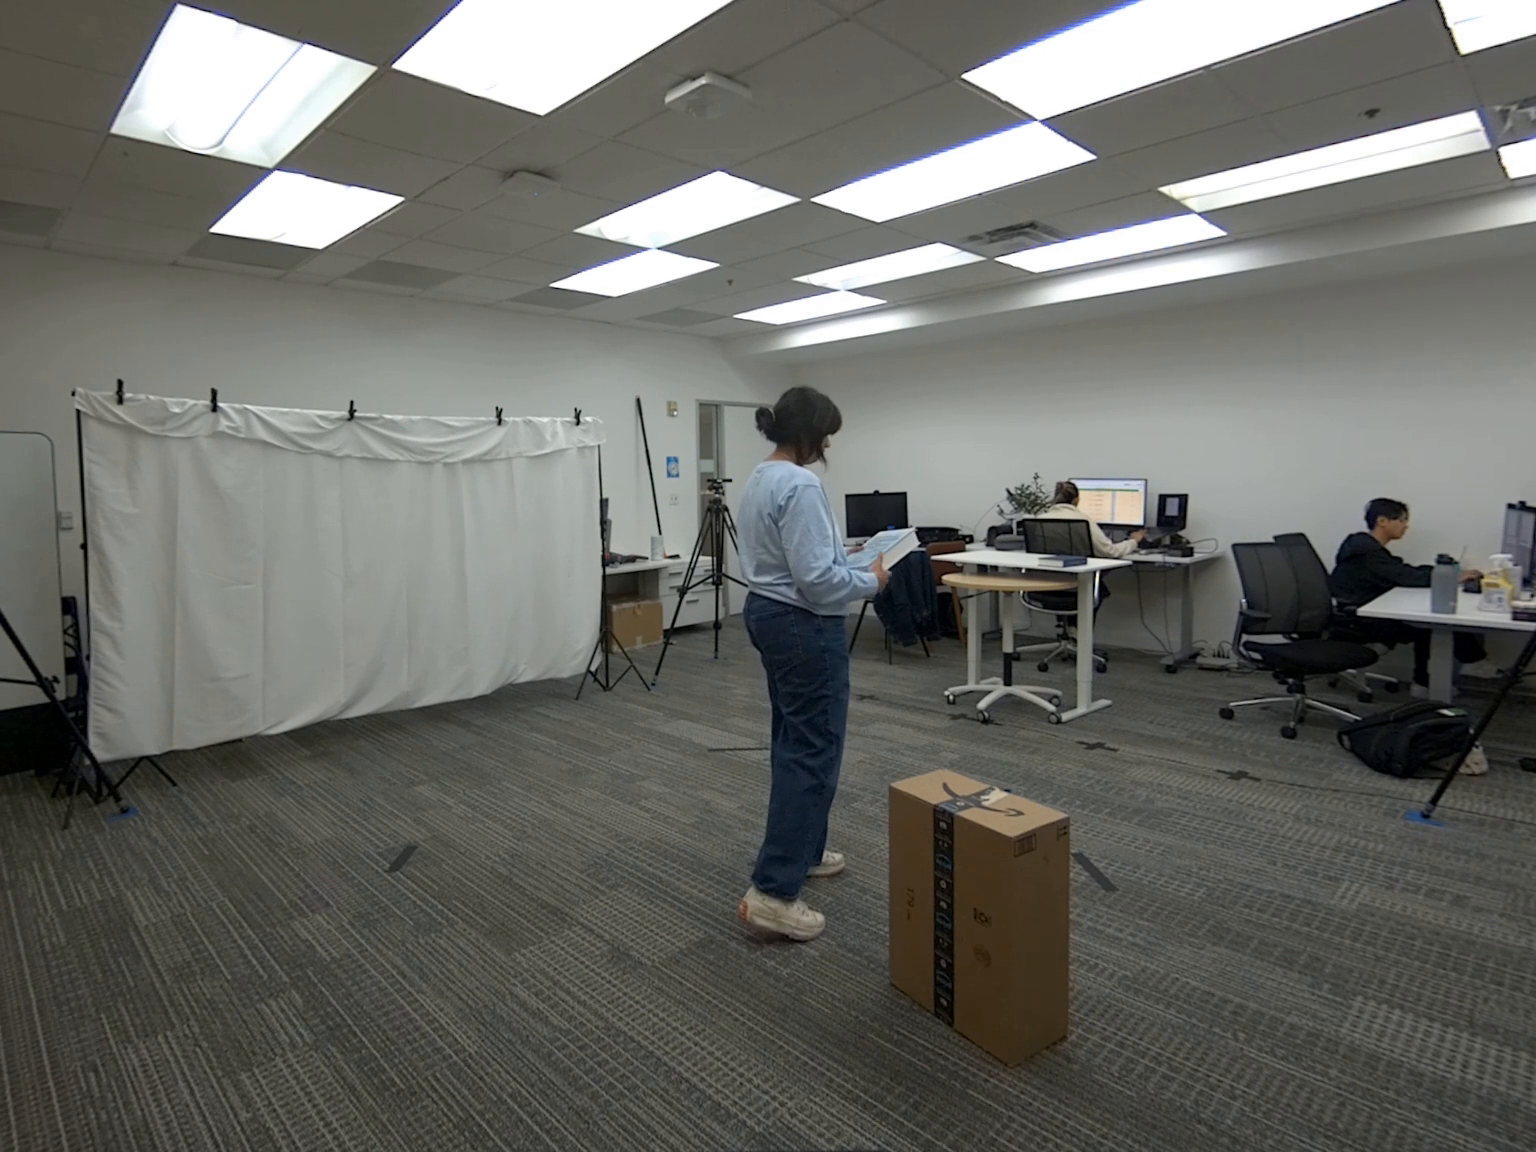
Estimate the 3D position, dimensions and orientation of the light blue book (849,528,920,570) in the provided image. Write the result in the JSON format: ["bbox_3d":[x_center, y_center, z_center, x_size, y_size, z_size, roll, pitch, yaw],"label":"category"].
[{"bbox_3d":[0.379,-0.067,2.945,0.259,0.058,0.196,-36,18,-31],"label":"light blue book"}]
